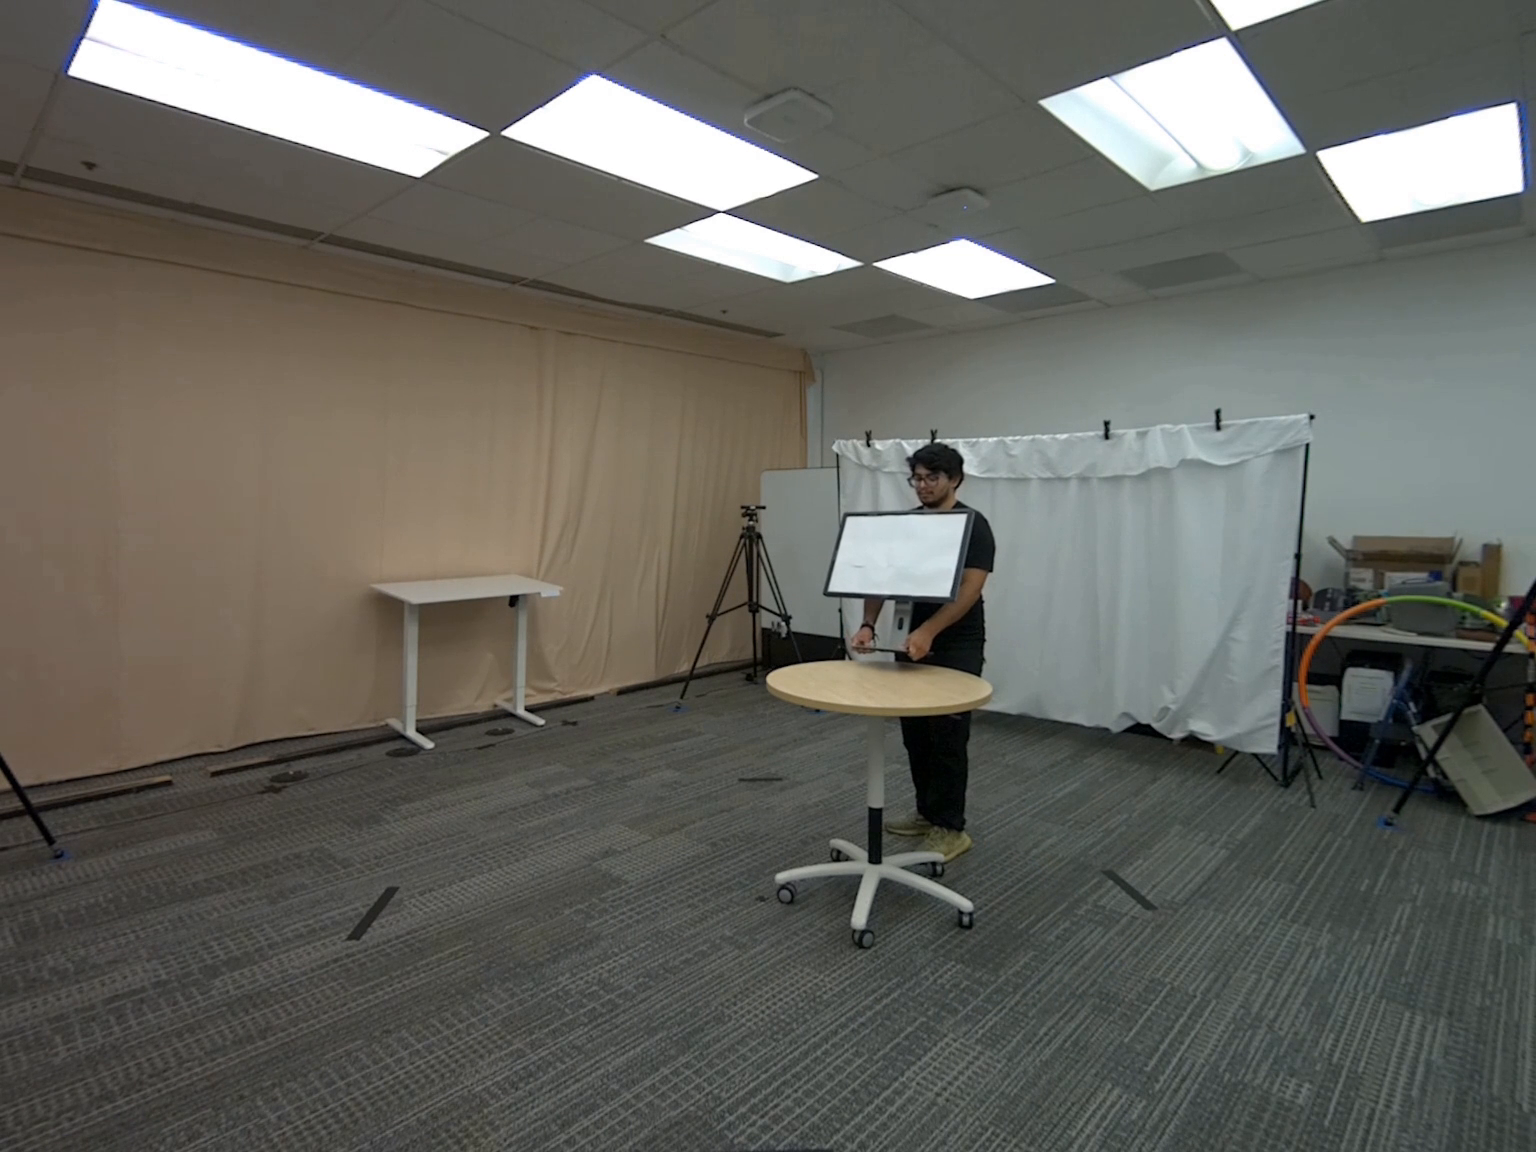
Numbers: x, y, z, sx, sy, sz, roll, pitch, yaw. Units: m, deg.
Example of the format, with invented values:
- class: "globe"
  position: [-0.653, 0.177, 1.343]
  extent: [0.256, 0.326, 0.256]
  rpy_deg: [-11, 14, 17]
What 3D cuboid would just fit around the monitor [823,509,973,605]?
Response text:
- class: "monitor"
  position: [0.518, 0.029, 3.222]
  extent: [0.584, 0.557, 0.202]
  rpy_deg: [1, -18, 43]
